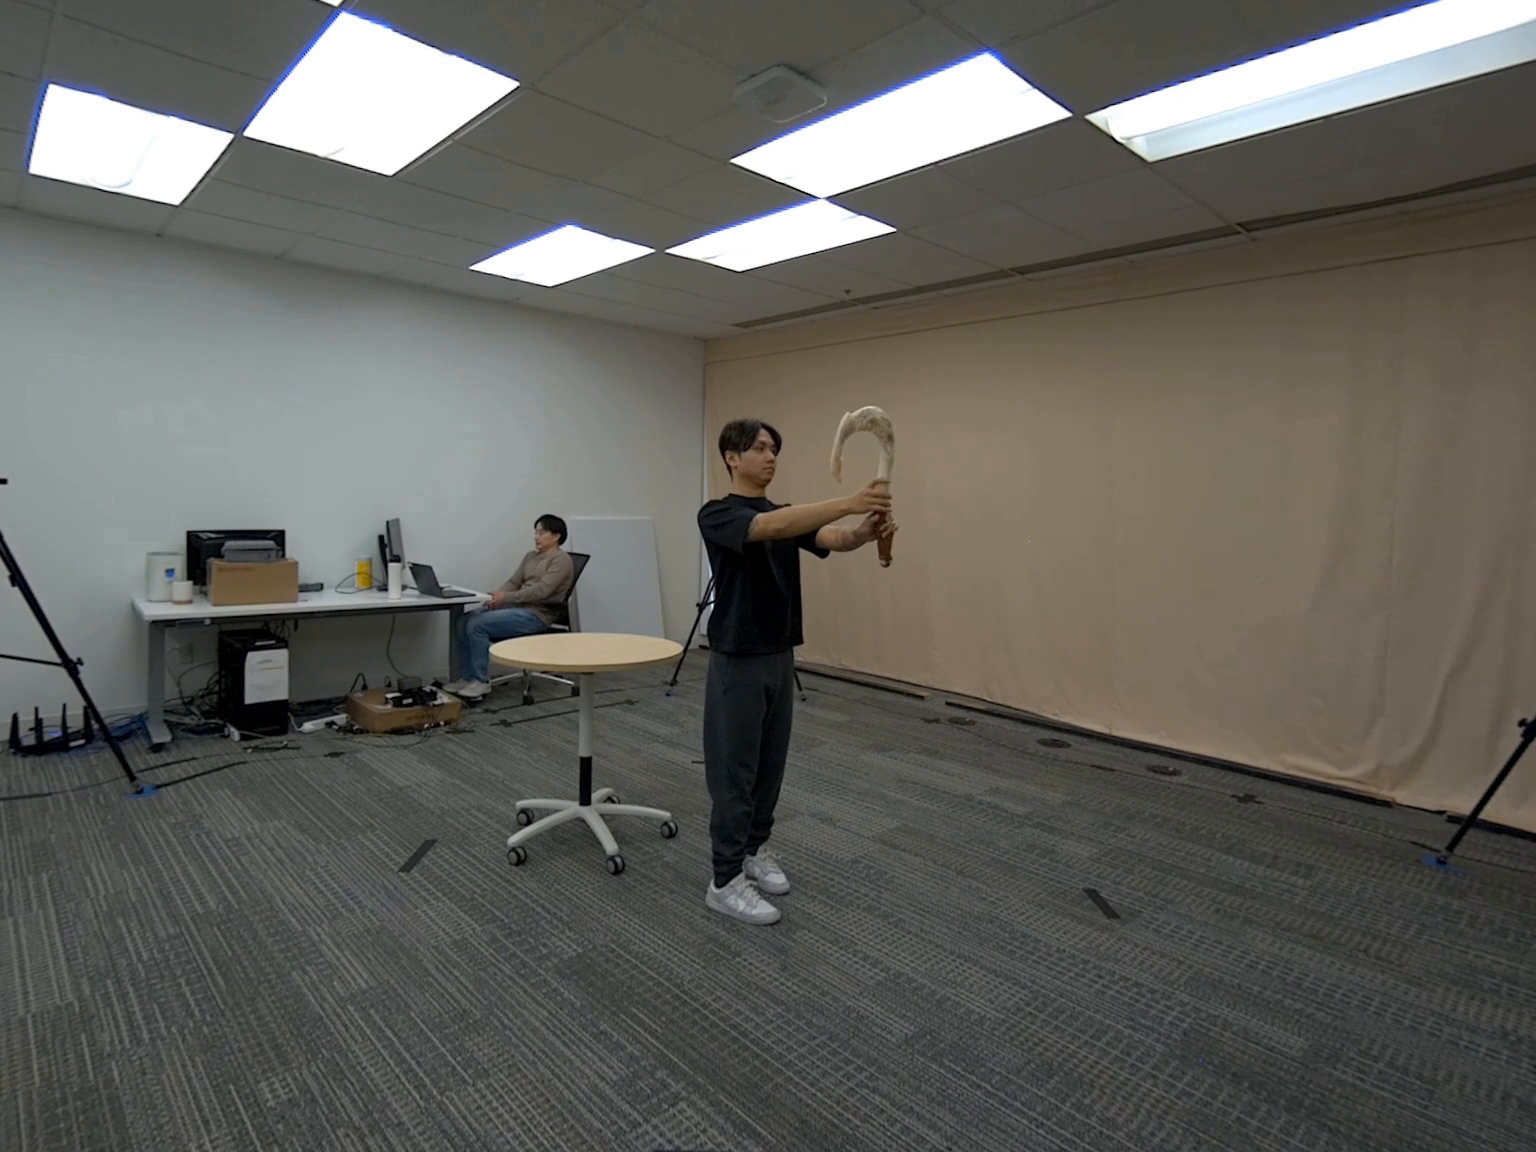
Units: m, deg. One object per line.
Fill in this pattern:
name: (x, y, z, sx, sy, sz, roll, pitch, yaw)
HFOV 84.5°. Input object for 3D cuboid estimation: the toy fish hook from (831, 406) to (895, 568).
toy fish hook: (0.287, -0.239, 2.447, 0.222, 0.497, 0.049, -19, 24, -19)
